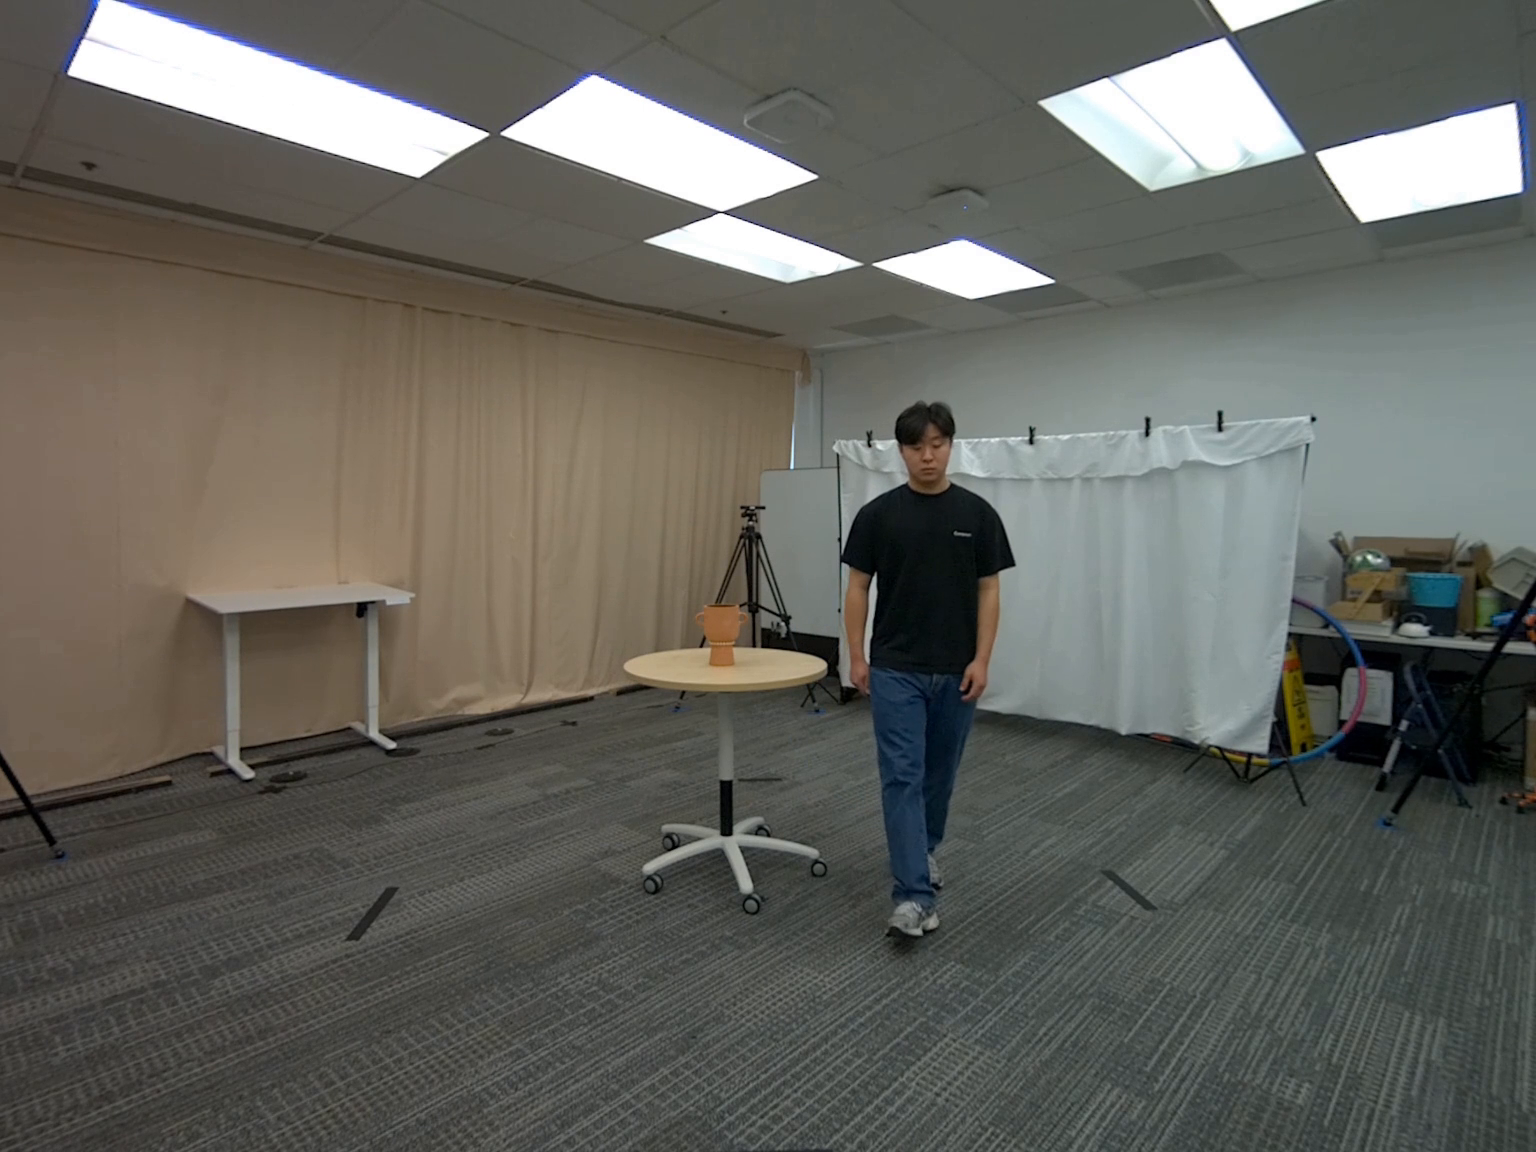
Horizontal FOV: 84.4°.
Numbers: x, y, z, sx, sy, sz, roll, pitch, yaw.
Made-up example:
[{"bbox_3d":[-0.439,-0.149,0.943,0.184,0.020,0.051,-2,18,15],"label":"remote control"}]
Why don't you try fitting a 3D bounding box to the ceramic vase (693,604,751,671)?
[{"bbox_3d":[-0.174,0.224,3.166,0.164,0.219,0.131,1,4,37],"label":"ceramic vase"}]
